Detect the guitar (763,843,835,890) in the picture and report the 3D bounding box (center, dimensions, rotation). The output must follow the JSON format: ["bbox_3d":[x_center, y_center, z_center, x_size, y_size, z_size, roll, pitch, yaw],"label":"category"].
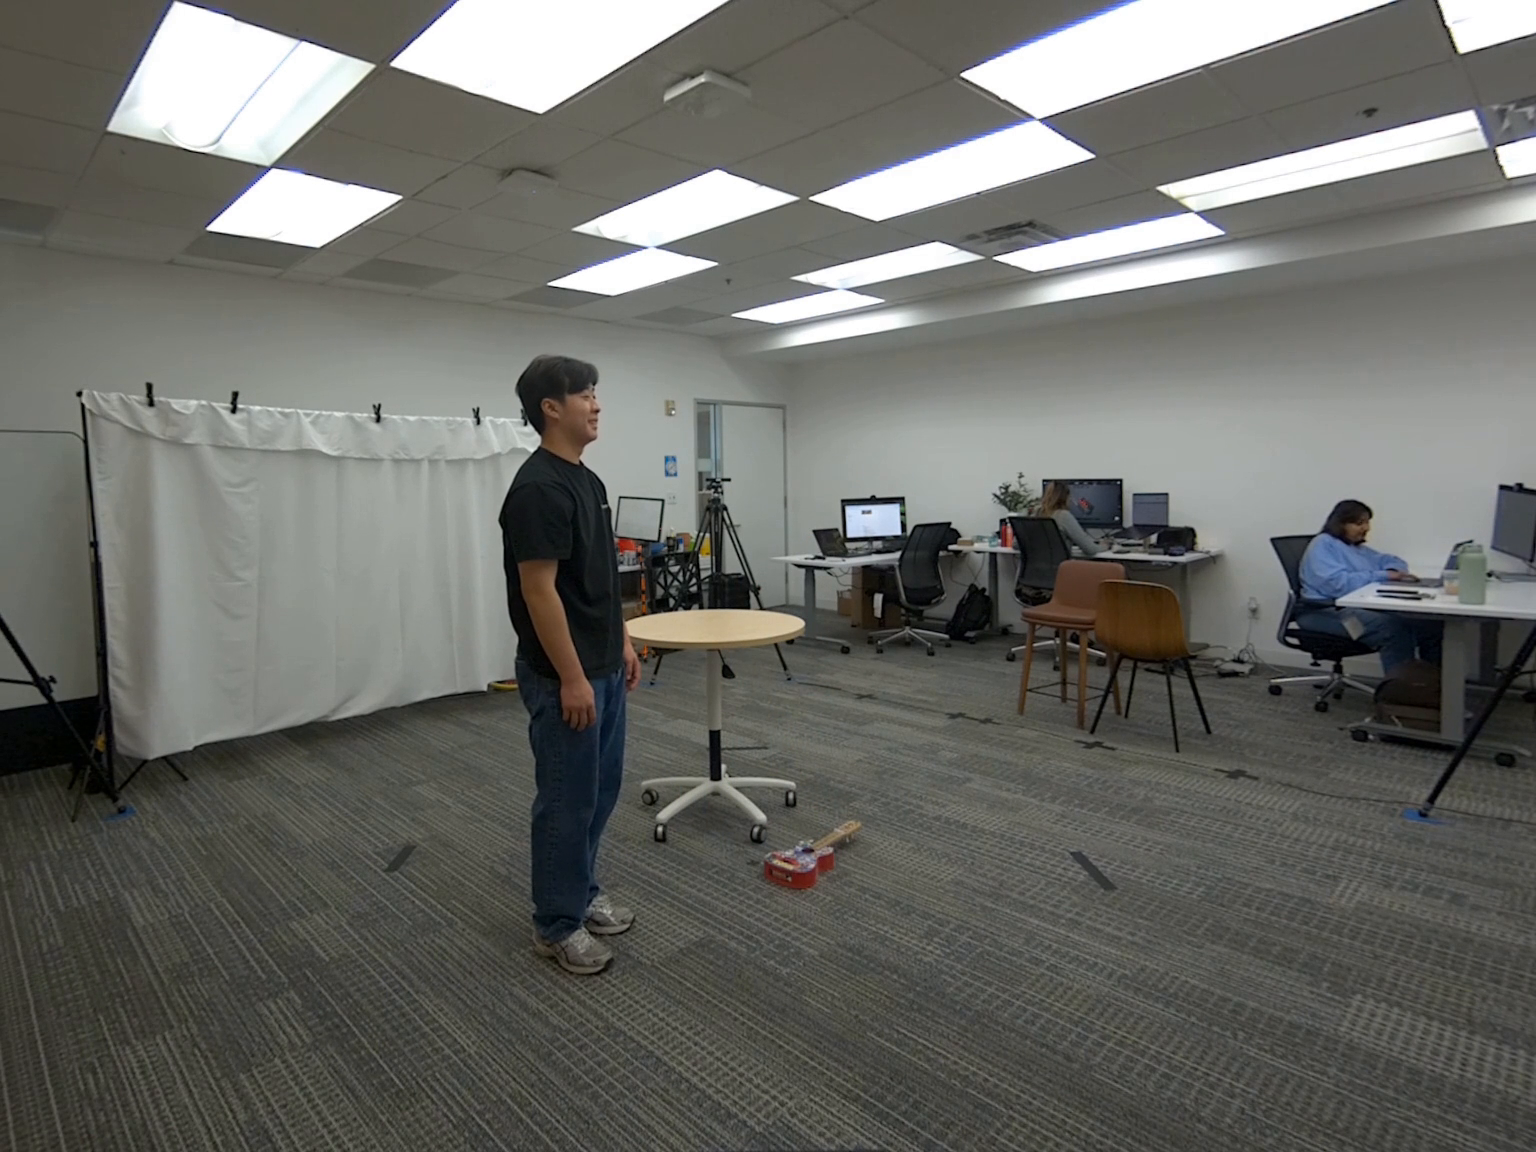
[{"bbox_3d":[0.215,1.004,3.101,0.485,0.070,0.199,-7,8,-42],"label":"guitar"}]
